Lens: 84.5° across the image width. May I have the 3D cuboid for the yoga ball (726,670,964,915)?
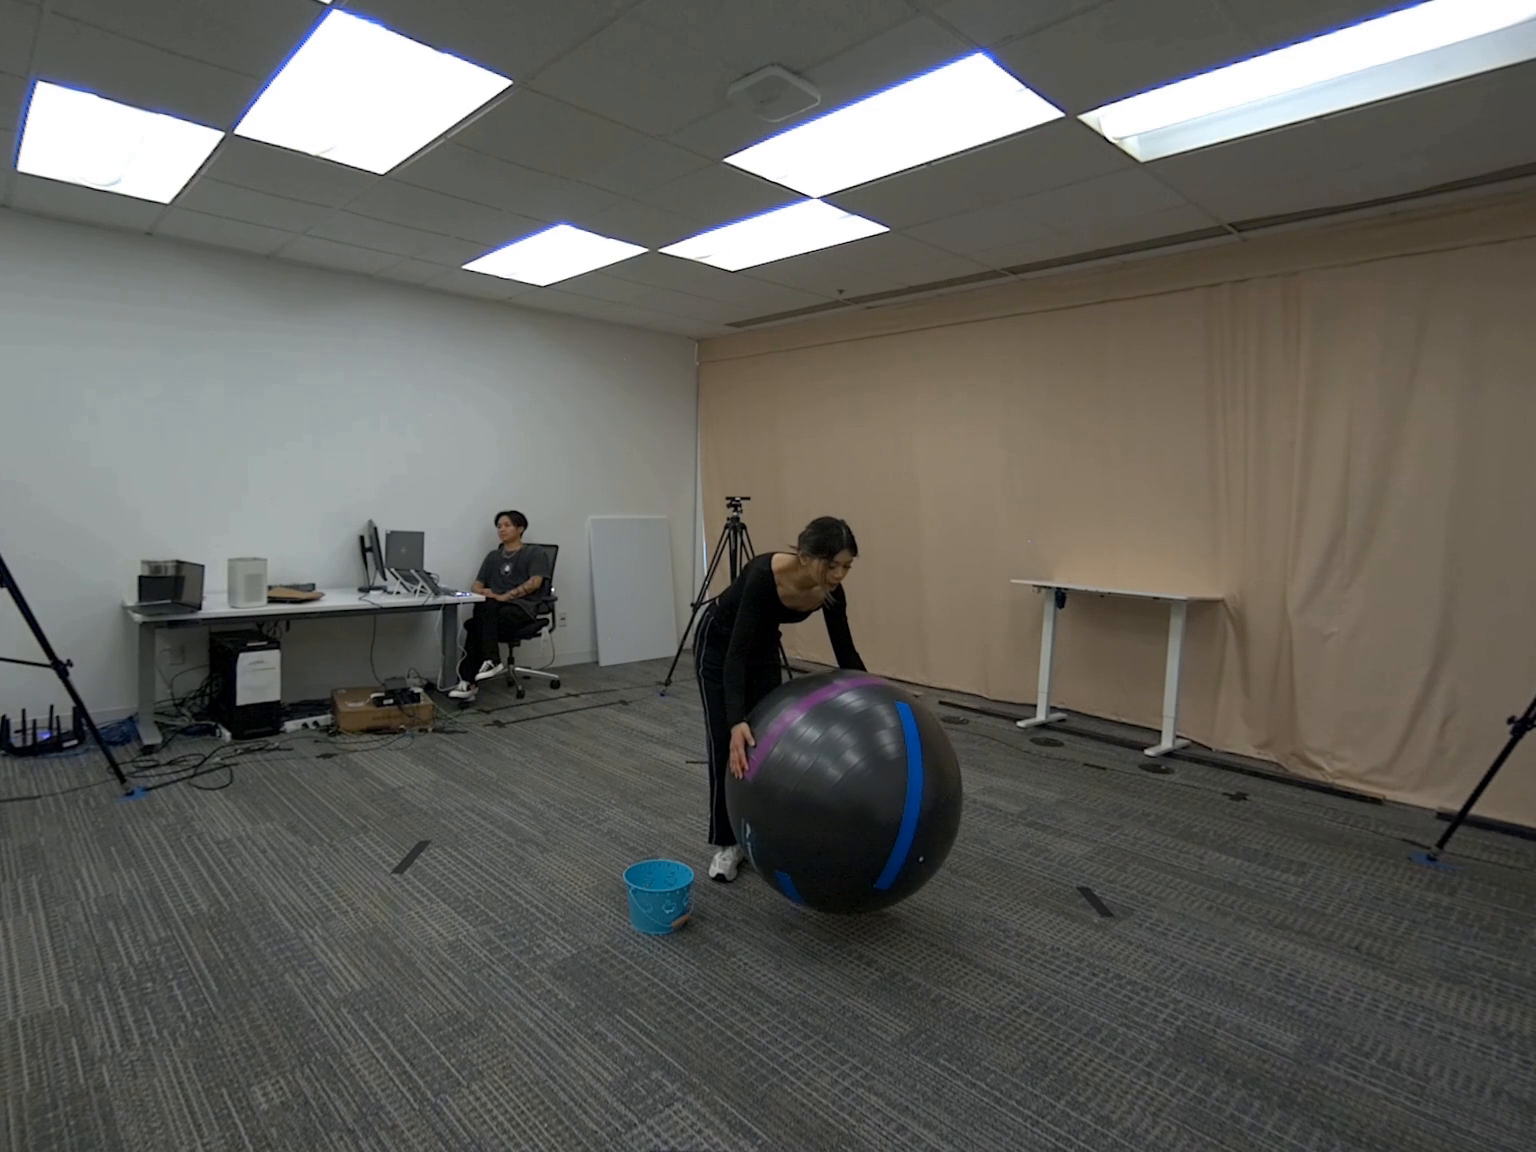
[{"bbox_3d":[0.237,0.683,2.722,0.757,0.756,0.761,1,4,-1],"label":"yoga ball"}]
